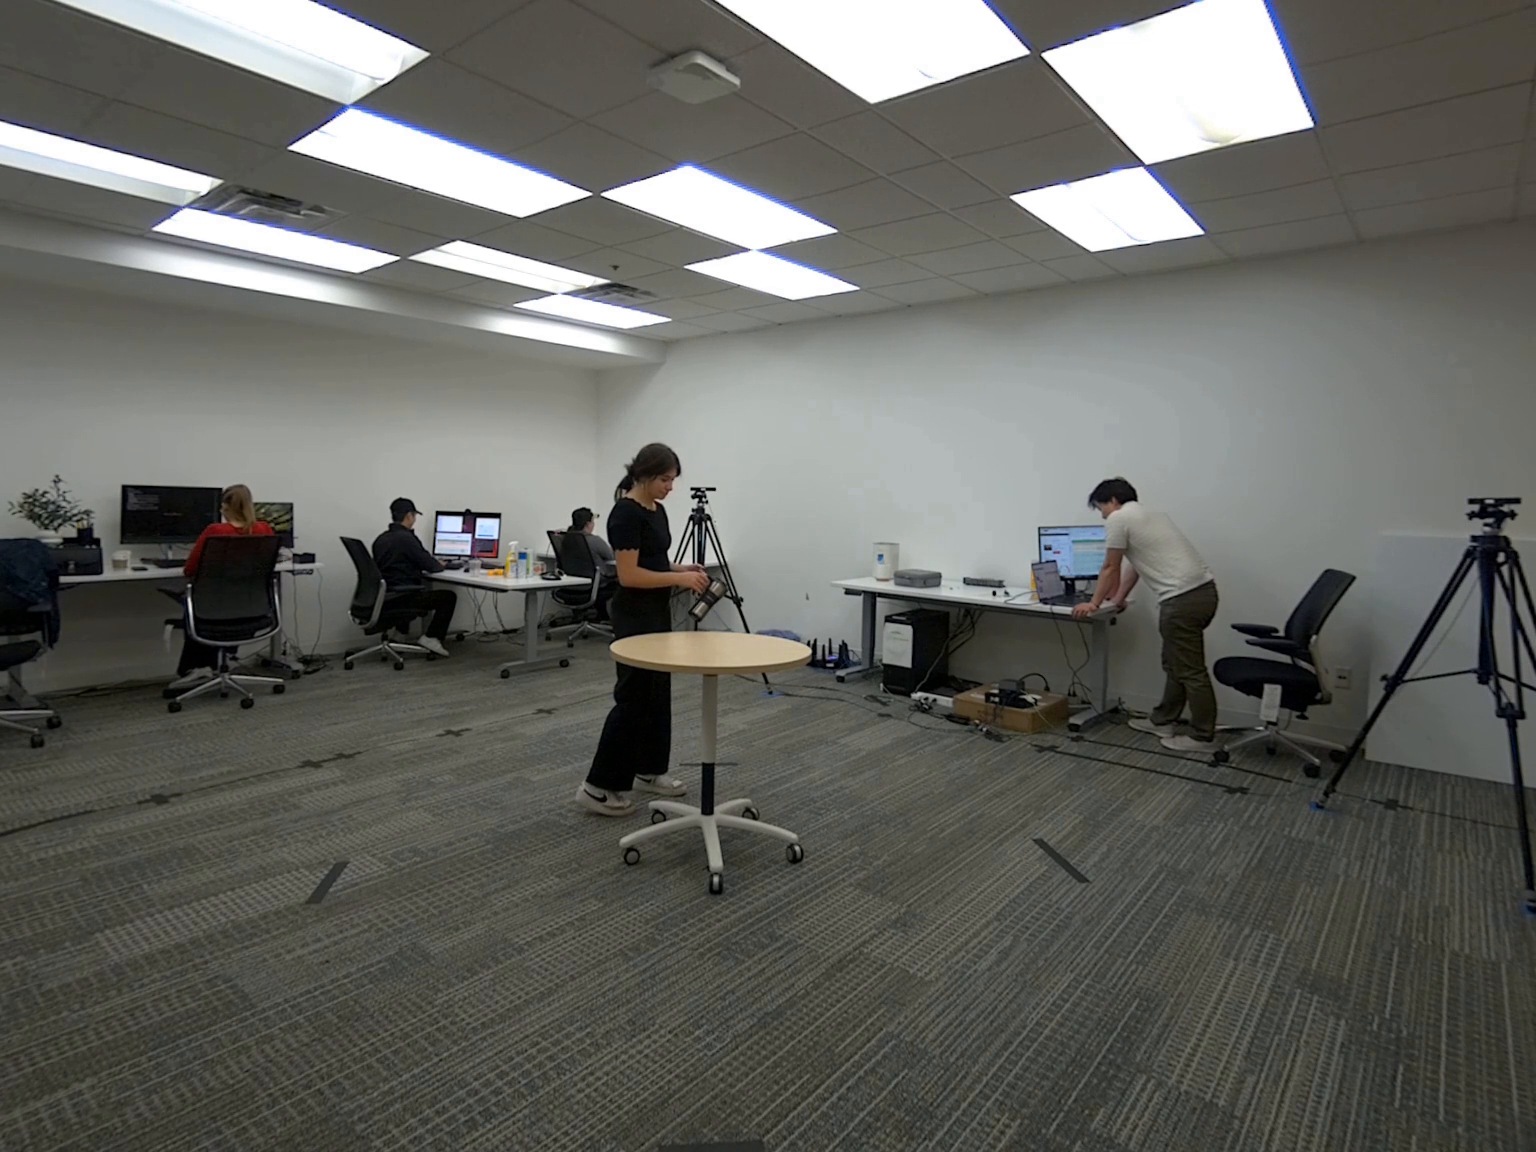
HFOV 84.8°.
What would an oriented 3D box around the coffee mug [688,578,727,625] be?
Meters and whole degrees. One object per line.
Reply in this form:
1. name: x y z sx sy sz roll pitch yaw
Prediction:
1. coffee mug: -0.295 0.099 3.736 0.127 0.203 0.084 35 -10 32
